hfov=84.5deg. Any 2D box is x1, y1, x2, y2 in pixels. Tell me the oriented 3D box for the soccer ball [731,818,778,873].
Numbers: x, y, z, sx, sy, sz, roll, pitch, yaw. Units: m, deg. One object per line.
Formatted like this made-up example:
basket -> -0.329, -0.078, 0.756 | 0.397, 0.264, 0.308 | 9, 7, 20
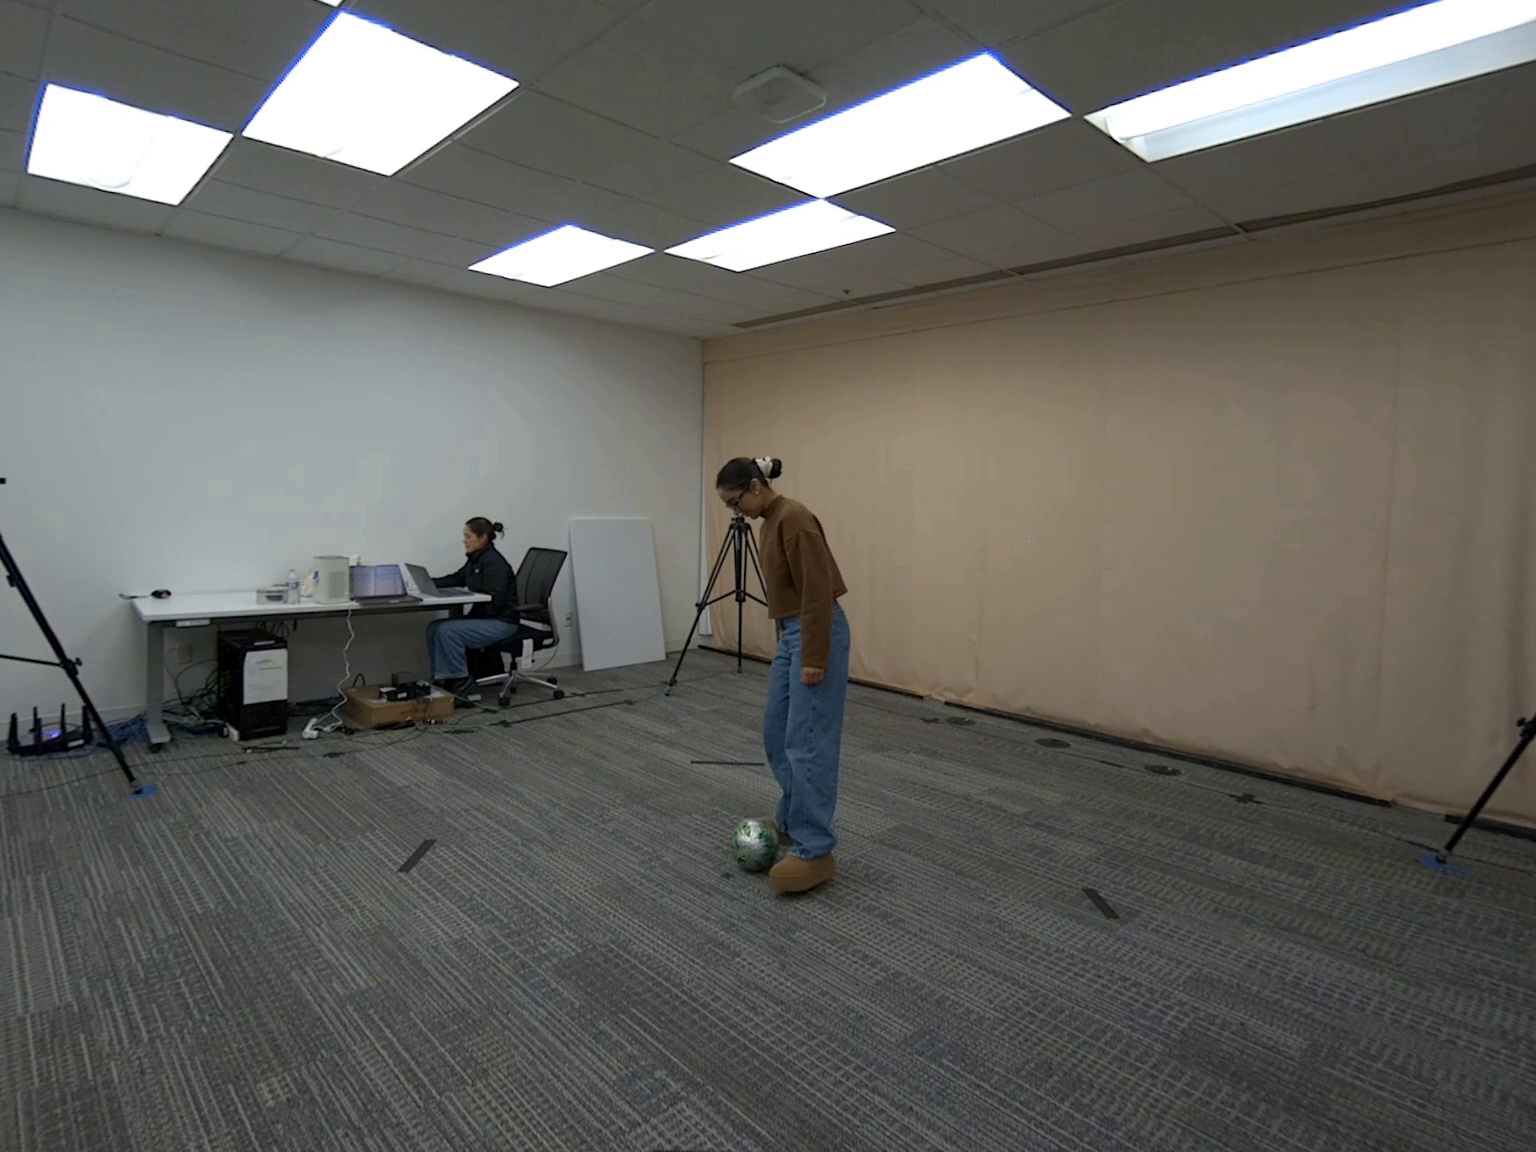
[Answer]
soccer ball -> -0.055, 1.007, 3.176 | 0.187, 0.187, 0.188 | 1, 4, -1
